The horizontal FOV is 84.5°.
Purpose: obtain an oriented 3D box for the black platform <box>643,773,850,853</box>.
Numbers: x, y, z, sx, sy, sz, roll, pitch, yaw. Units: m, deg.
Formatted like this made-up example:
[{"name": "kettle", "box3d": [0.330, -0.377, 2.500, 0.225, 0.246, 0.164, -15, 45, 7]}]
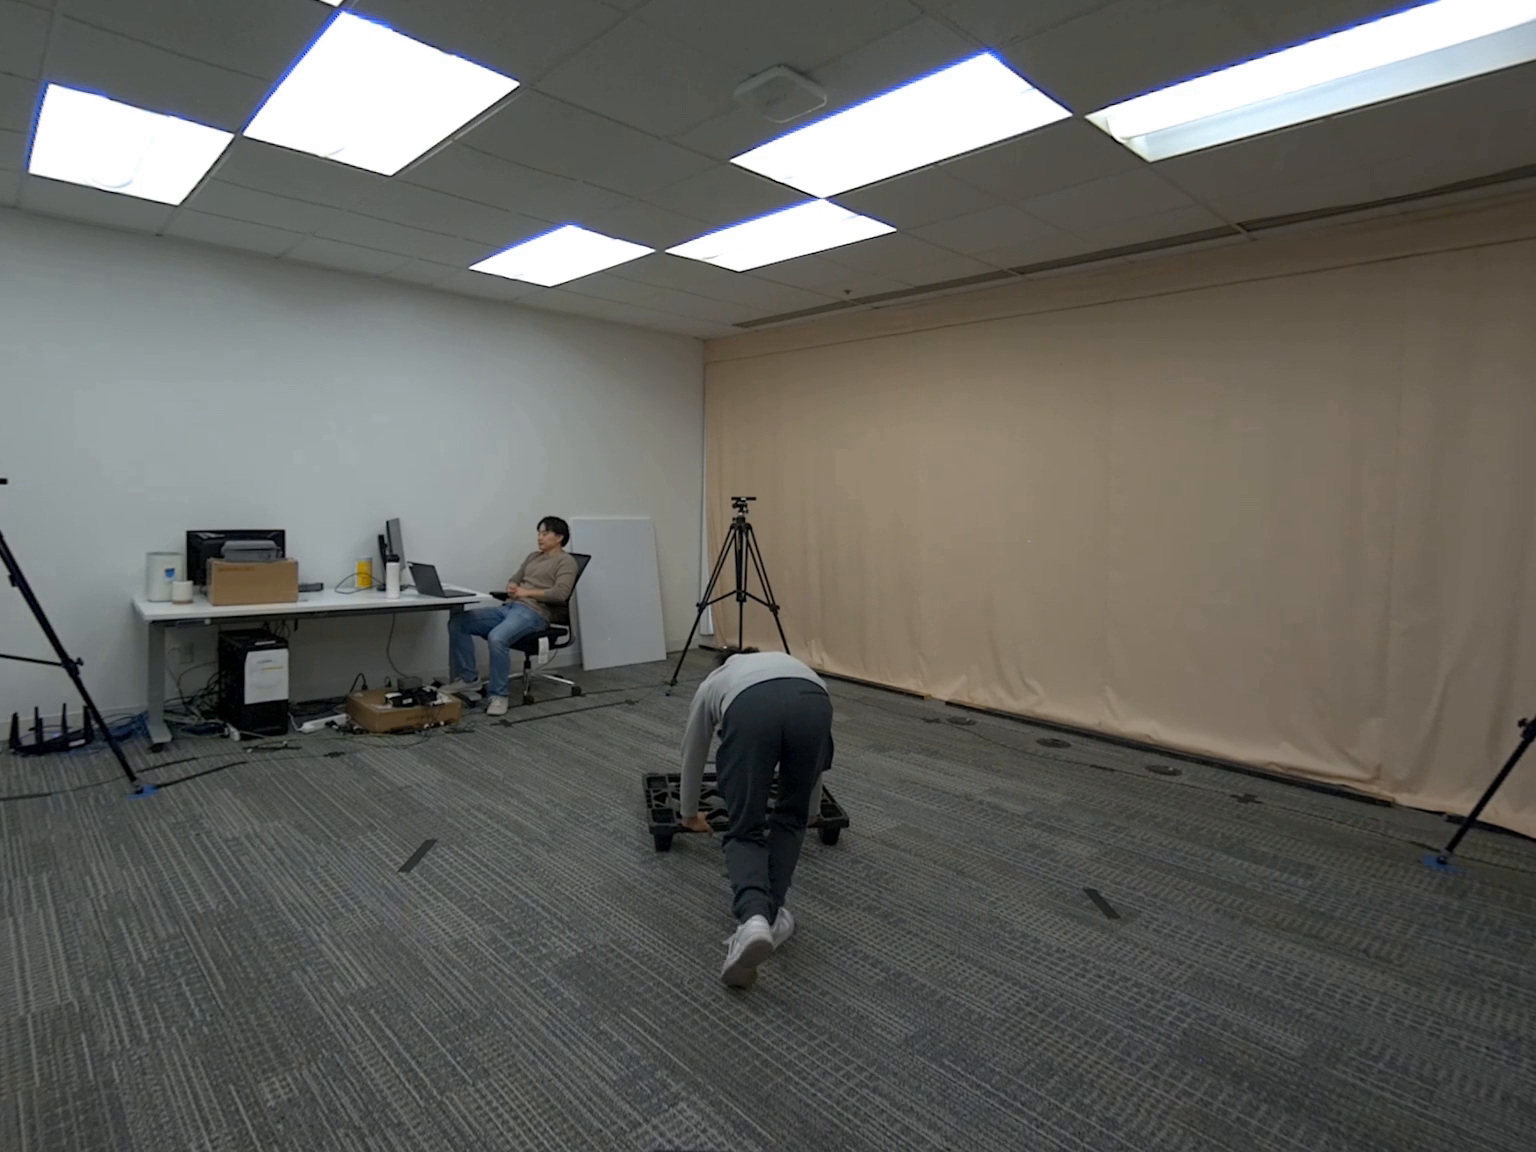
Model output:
[{"name": "black platform", "box3d": [-0.132, 0.995, 3.580, 0.799, 0.143, 0.611, 1, 5, -10]}]
